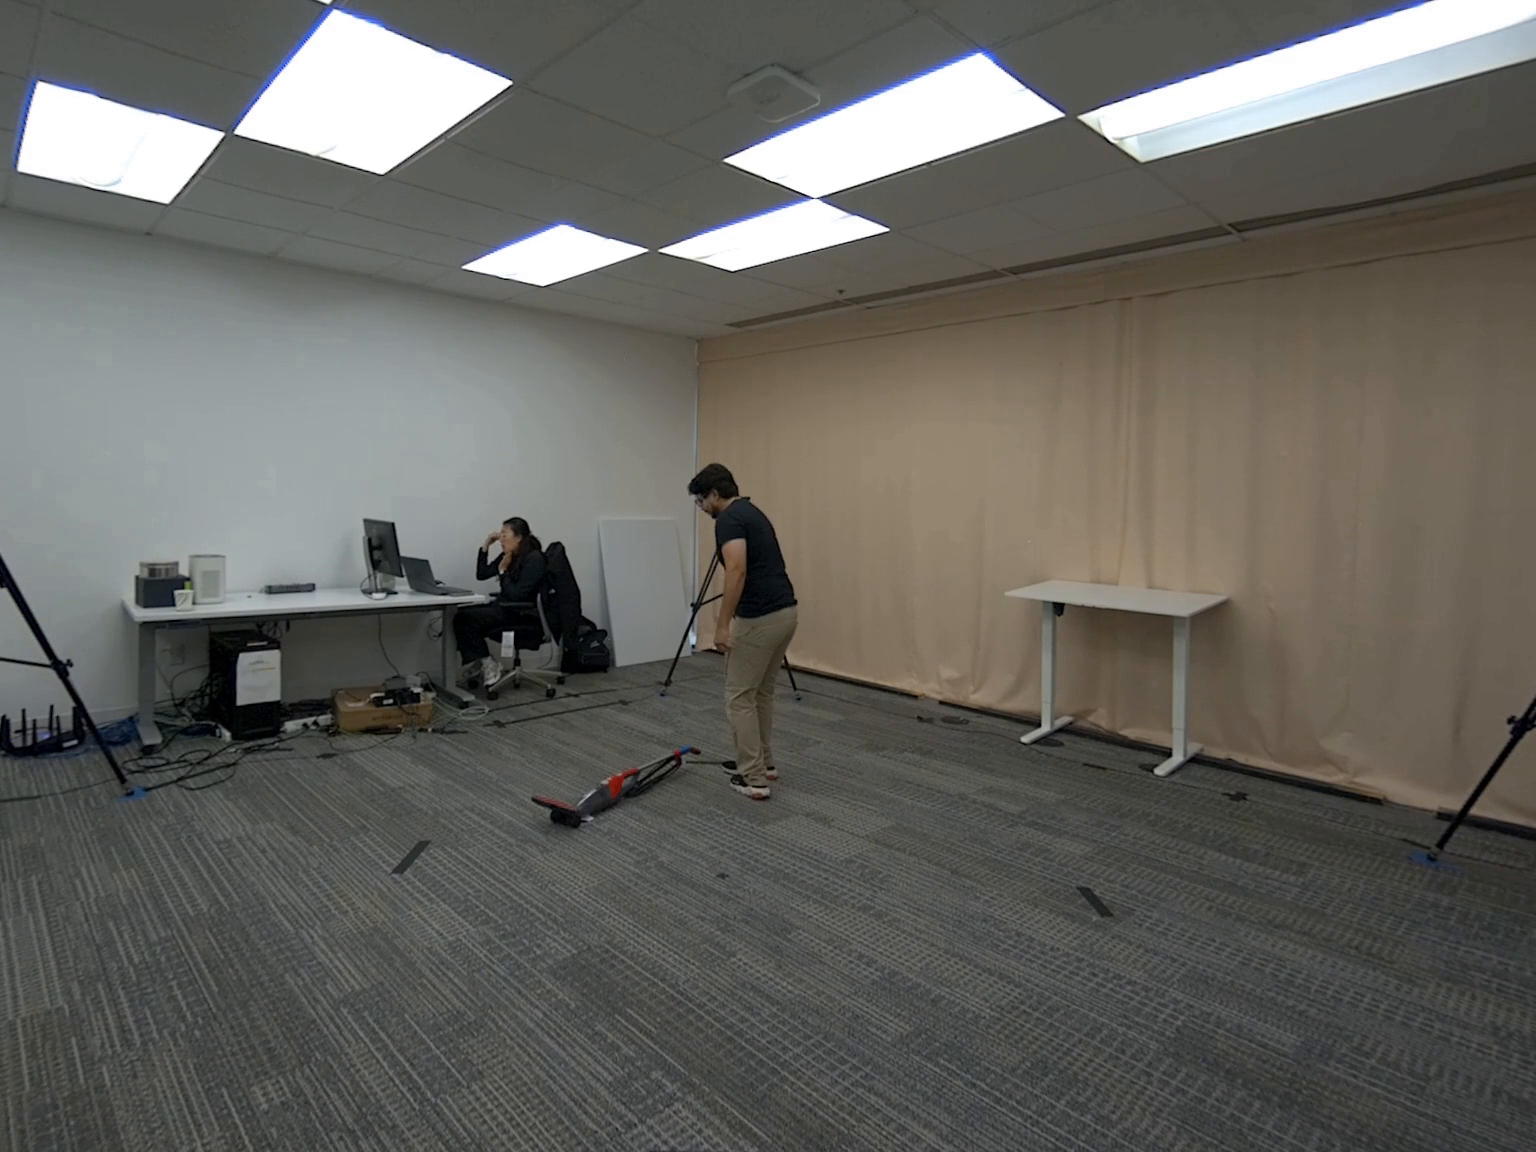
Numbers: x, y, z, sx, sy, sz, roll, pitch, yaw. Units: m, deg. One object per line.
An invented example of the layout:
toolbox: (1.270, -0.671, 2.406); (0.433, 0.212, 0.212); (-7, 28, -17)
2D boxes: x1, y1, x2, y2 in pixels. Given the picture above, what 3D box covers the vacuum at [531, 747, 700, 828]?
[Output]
vacuum: (-0.633, 0.963, 3.956); (0.258, 0.143, 1.029); (4, 5, 29)
